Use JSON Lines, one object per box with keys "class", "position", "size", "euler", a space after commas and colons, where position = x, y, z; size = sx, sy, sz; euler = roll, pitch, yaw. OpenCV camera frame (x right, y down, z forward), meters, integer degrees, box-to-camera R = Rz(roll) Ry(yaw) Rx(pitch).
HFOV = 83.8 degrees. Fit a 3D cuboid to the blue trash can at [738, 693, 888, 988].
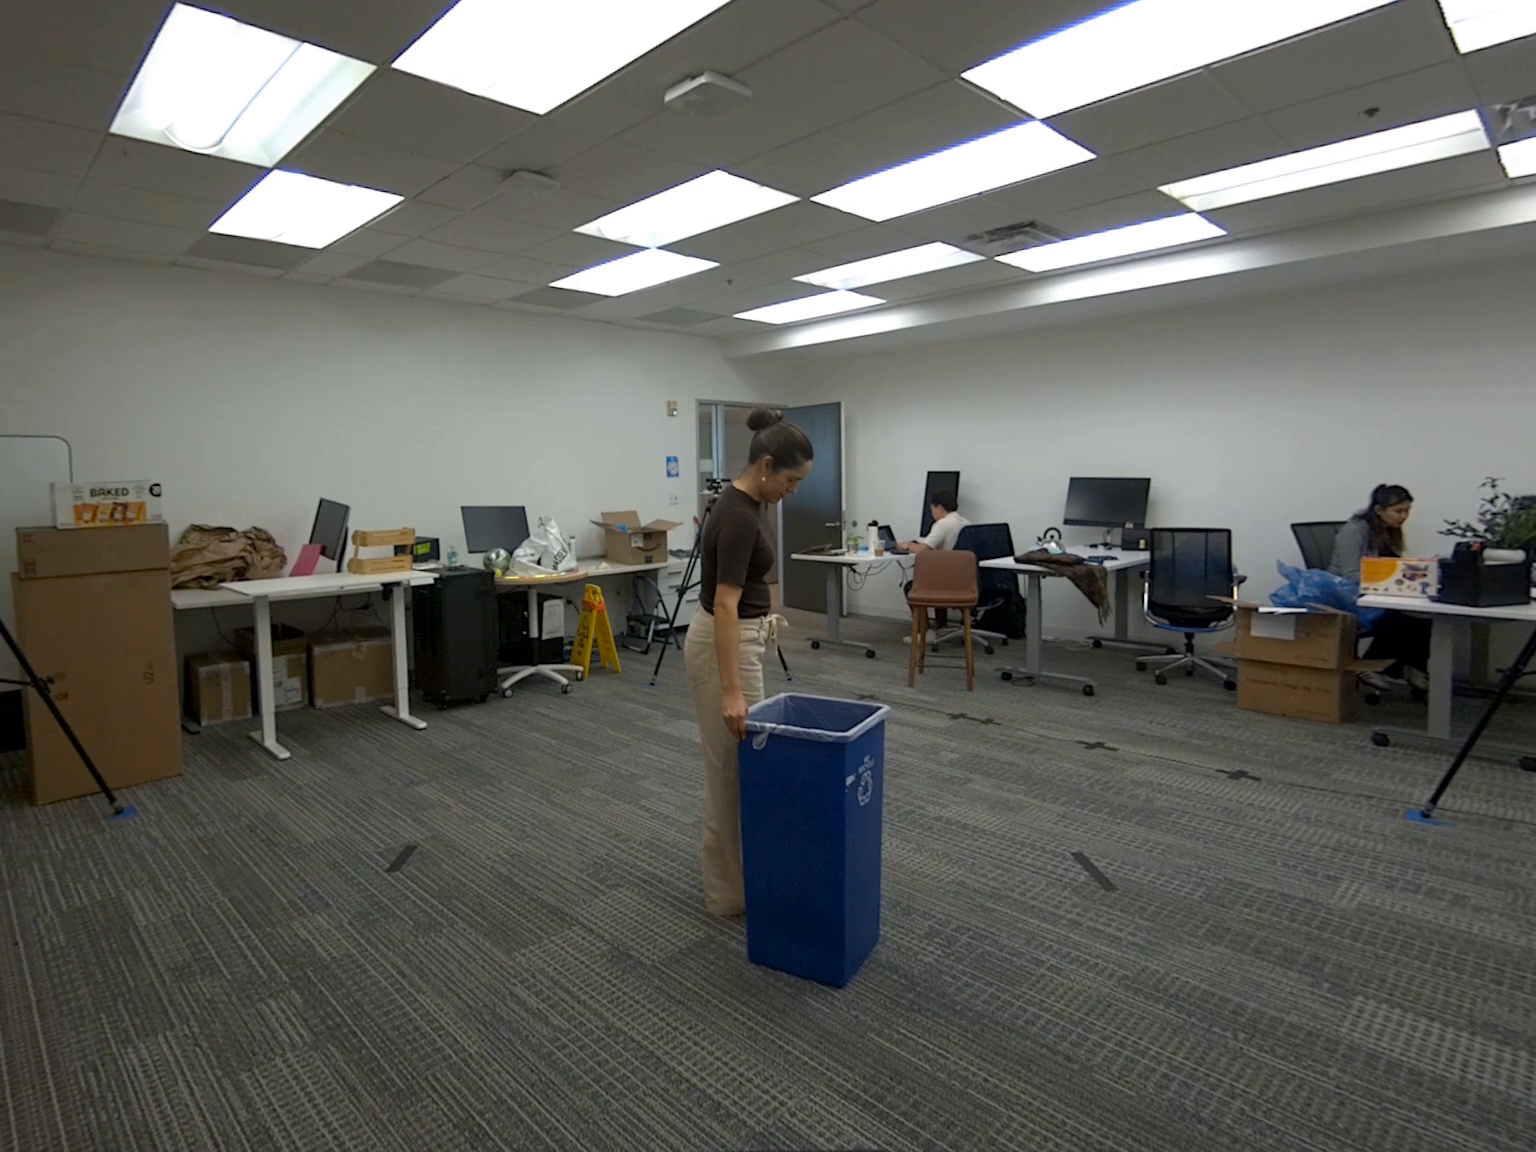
{"class": "blue trash can", "position": [0.146, 0.752, 2.510], "size": [0.383, 0.712, 0.370], "euler": [0, 3, 28]}
